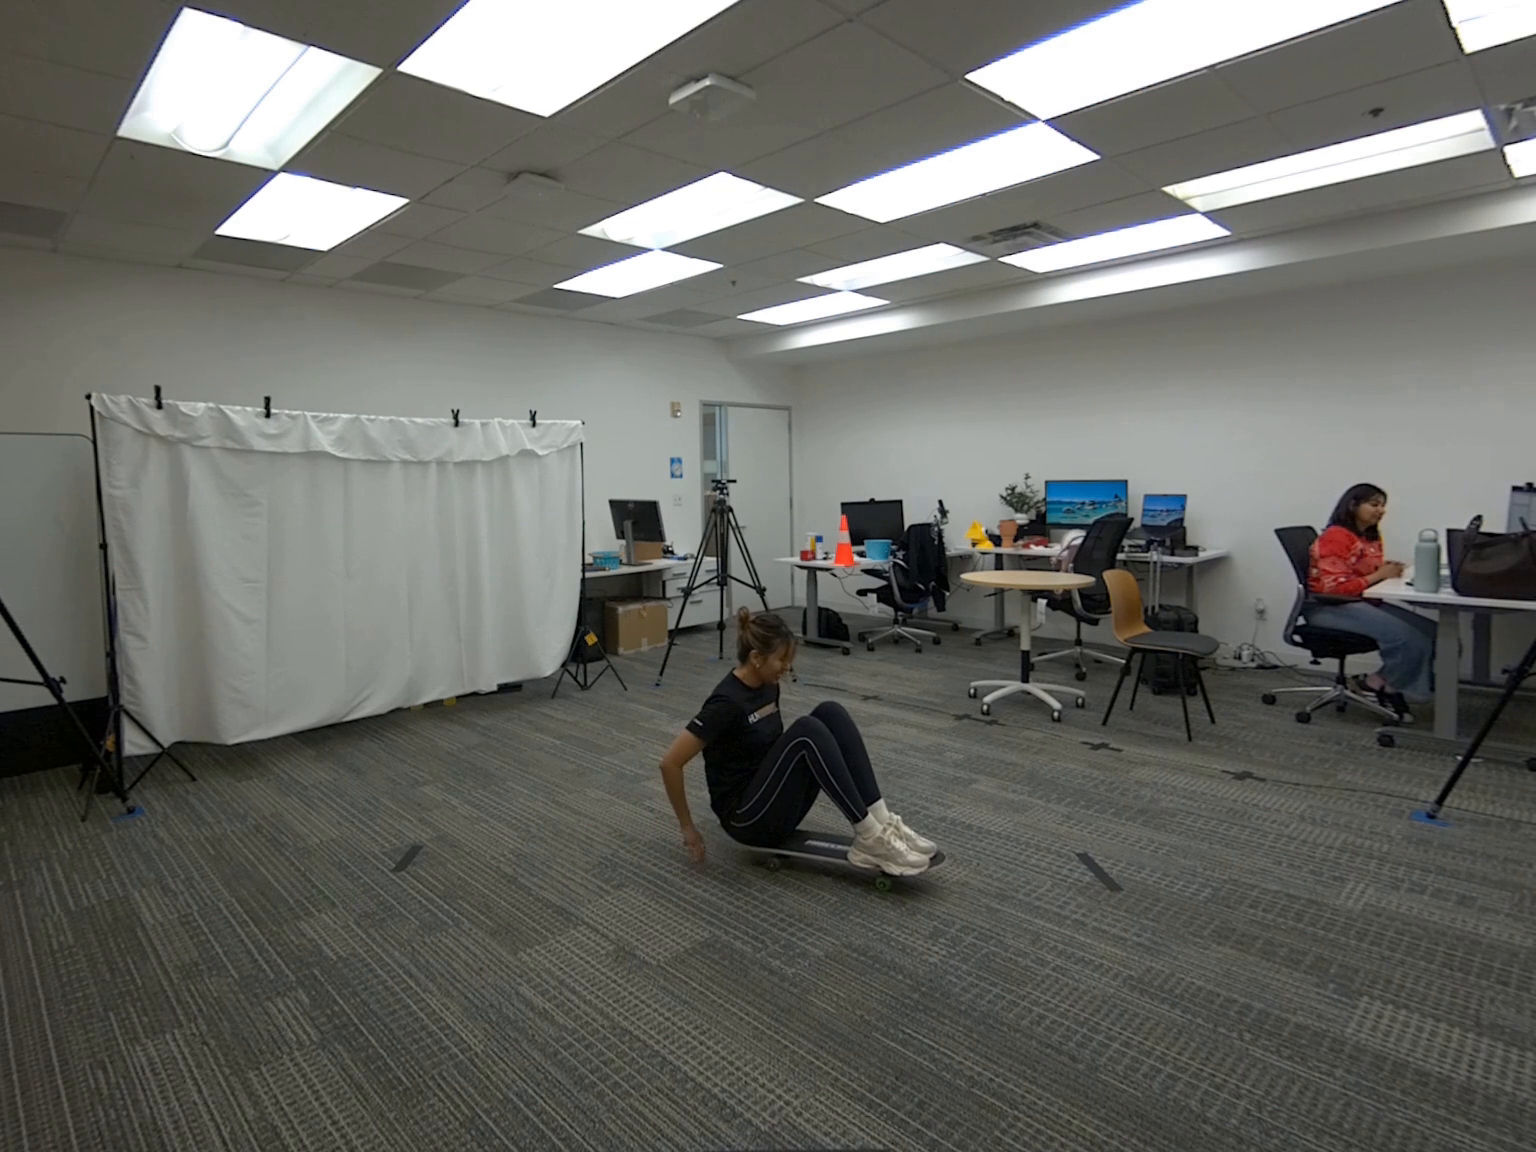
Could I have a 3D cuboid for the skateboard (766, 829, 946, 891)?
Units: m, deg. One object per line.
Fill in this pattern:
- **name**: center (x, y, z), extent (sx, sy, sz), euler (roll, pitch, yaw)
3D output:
- **skateboard**: center (0.224, 0.999, 3.036), extent (0.802, 0.109, 0.190), euler (1, 9, 24)
